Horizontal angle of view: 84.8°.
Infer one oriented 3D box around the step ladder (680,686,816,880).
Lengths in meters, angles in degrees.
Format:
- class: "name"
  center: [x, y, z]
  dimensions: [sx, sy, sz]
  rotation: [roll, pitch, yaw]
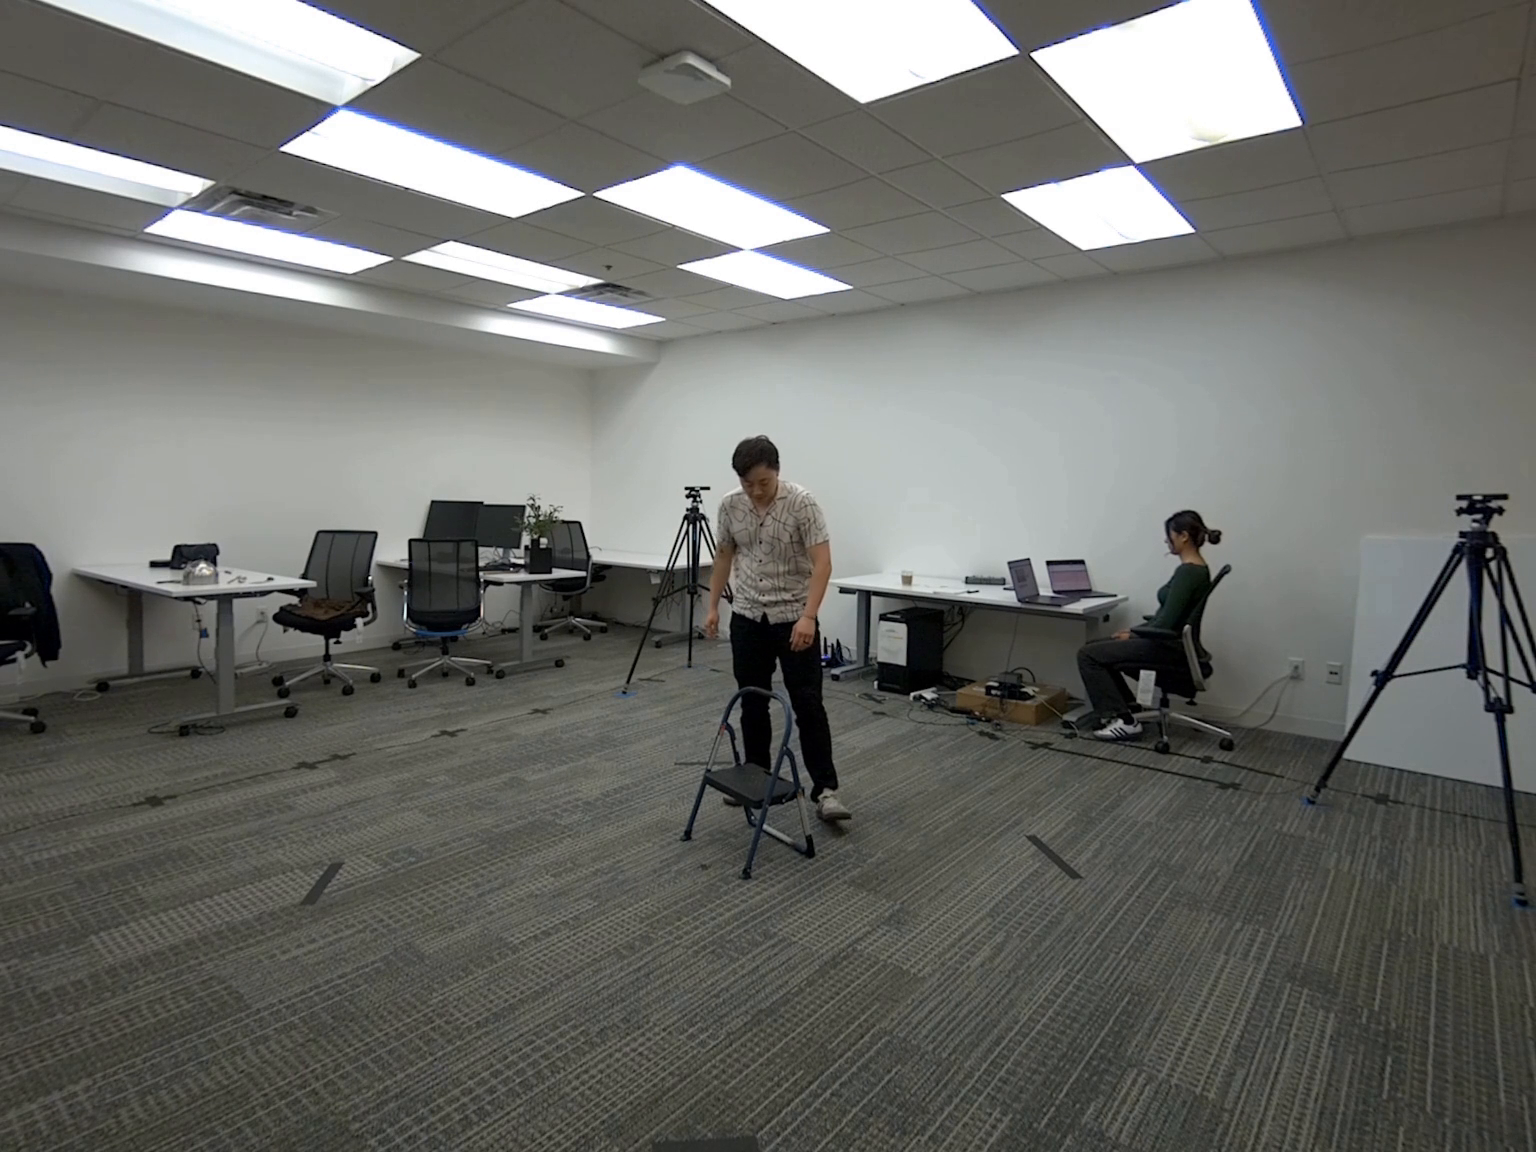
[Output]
- class: "step ladder"
  center: [-0.085, 0.746, 3.270]
  dimensions: [0.339, 0.605, 0.445]
  rotation: [-1, 4, -37]
